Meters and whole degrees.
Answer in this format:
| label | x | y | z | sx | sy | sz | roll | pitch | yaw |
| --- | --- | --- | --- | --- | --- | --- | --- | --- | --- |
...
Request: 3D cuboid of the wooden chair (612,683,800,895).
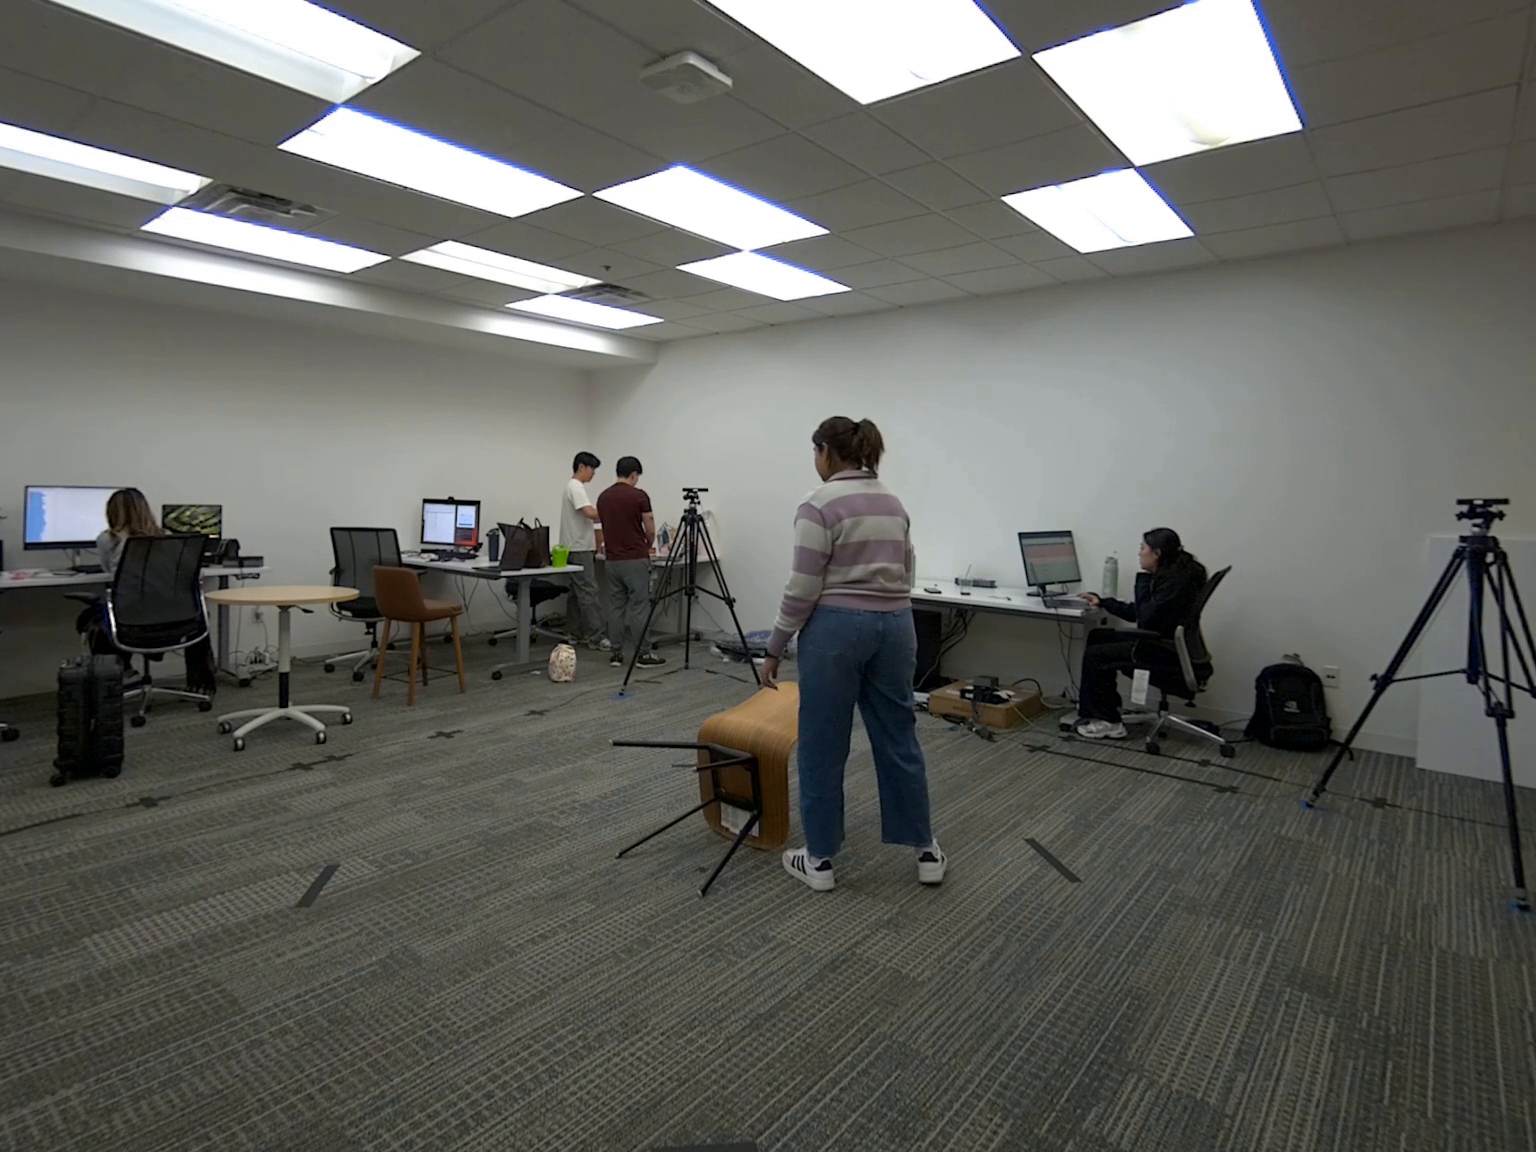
| label | x | y | z | sx | sy | sz | roll | pitch | yaw |
| --- | --- | --- | --- | --- | --- | --- | --- | --- | --- |
| wooden chair | -0.143 | 0.794 | 3.330 | 0.494 | 0.518 | 0.857 | 3 | 14 | 41 |
